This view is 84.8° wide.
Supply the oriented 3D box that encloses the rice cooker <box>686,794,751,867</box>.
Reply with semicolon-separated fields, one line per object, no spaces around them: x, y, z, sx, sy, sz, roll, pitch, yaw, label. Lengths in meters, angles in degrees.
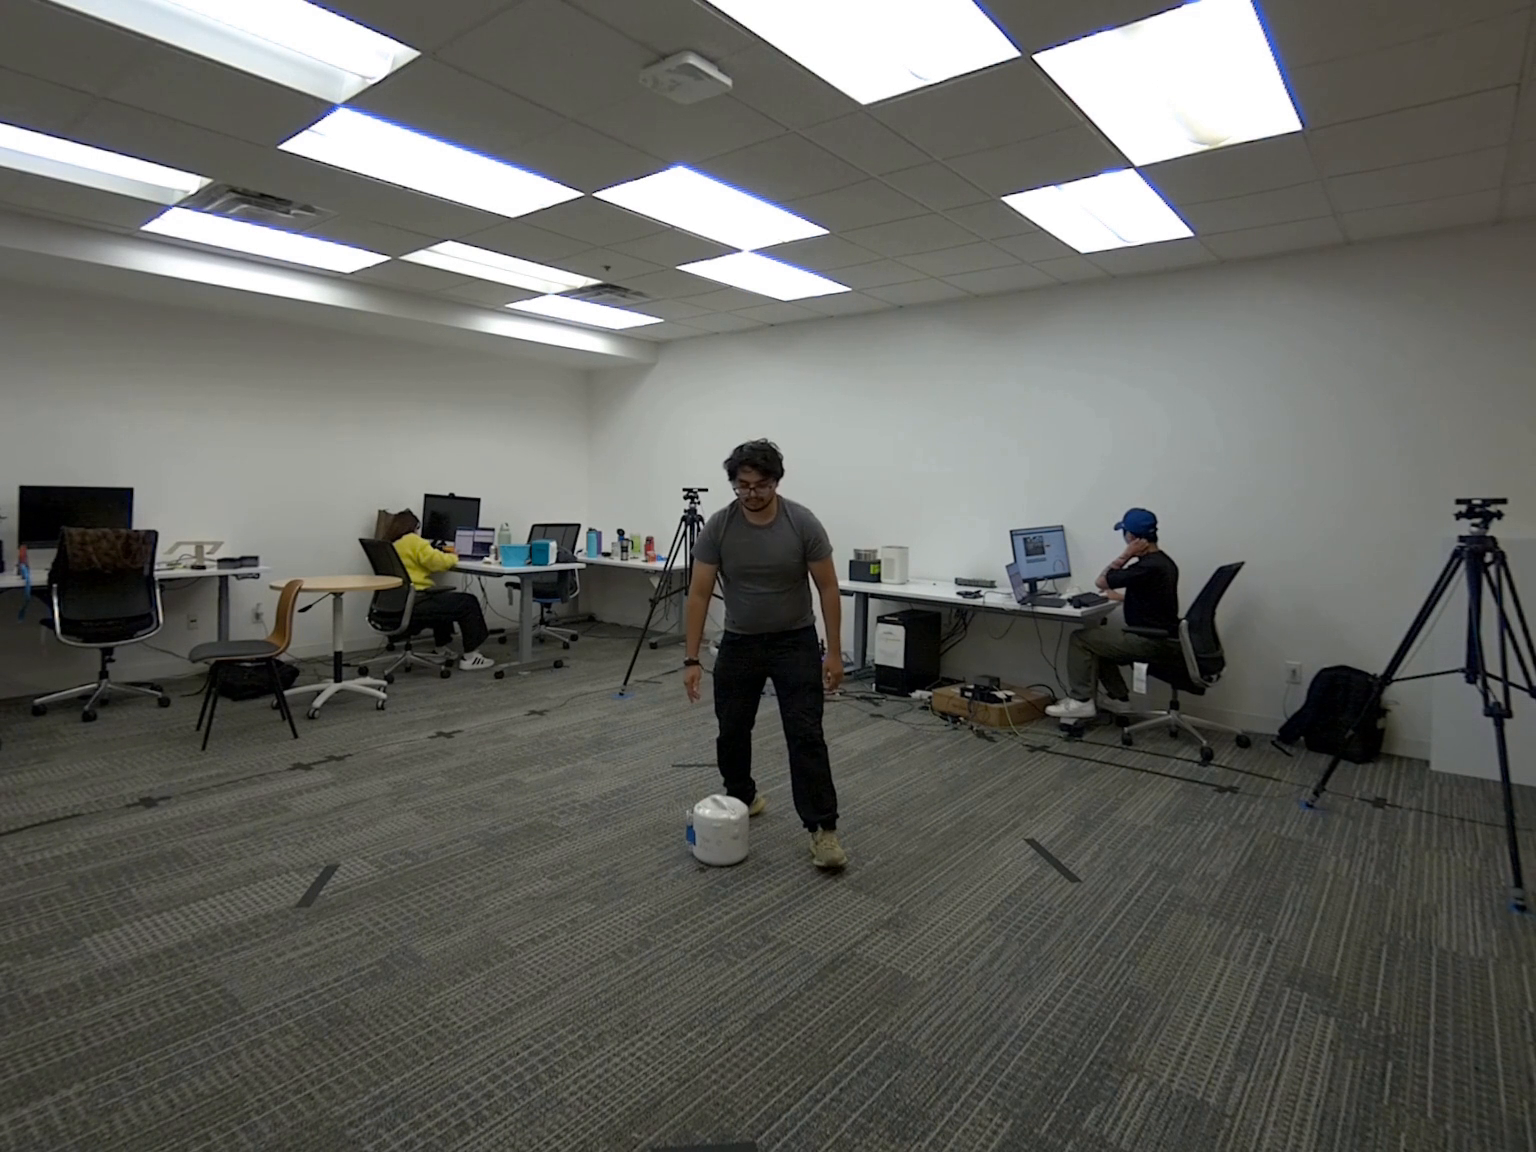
-0.189;0.946;3.212;0.211;0.232;0.228;-3;6;-32;rice cooker
